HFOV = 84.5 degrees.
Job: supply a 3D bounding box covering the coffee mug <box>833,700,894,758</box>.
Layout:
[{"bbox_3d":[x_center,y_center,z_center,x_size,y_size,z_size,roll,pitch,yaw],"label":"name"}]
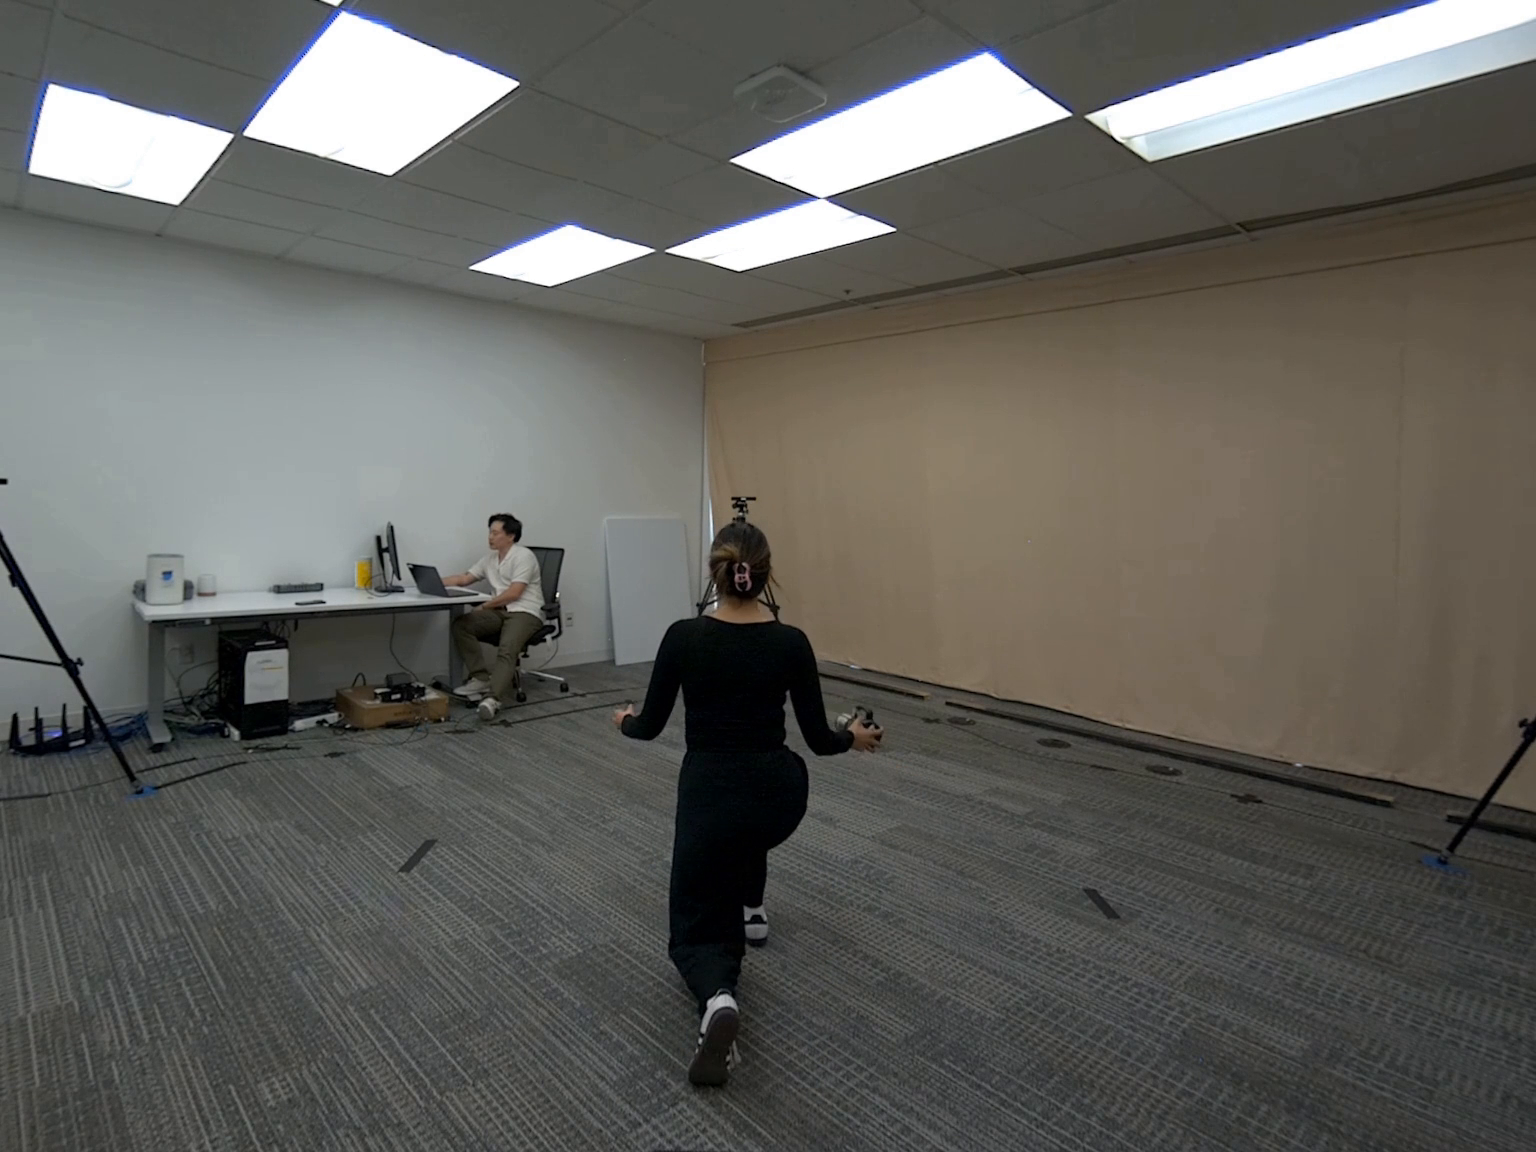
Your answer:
[{"bbox_3d":[0.308,0.499,2.789,0.087,0.122,0.205,36,-7,-10],"label":"coffee mug"}]
